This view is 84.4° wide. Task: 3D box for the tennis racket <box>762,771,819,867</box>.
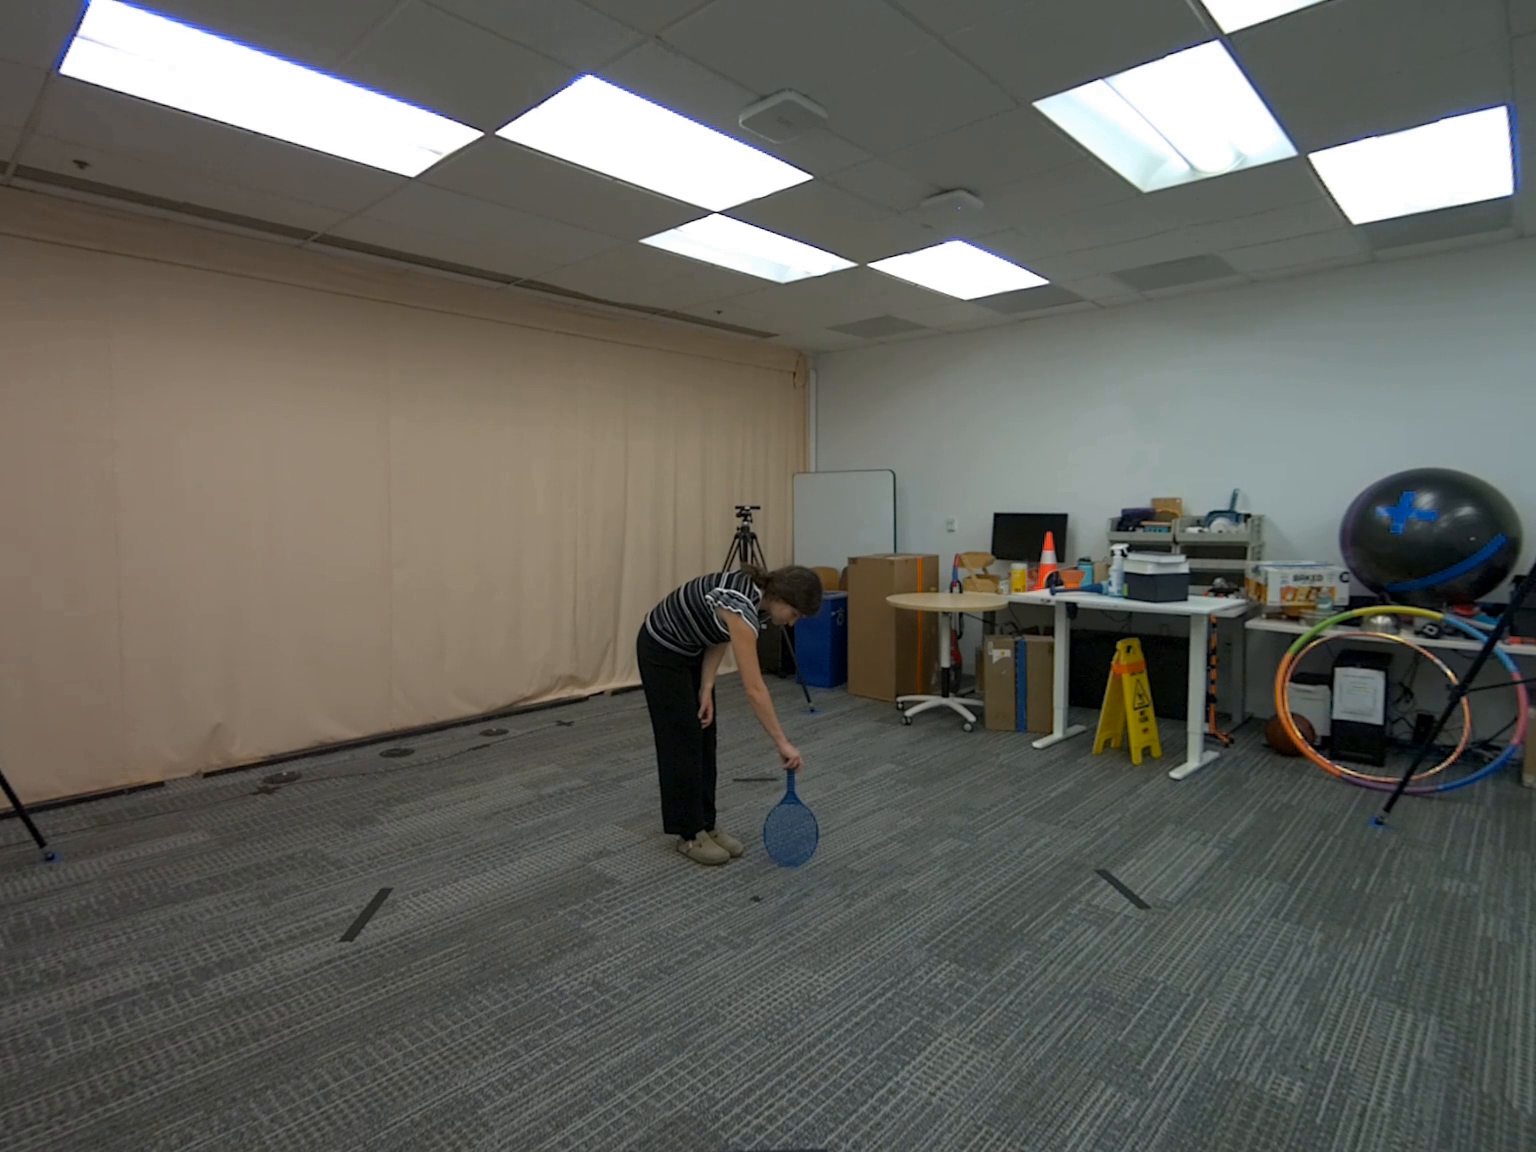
[{"bbox_3d":[0.088,0.911,3.221,0.215,0.431,0.032,-1,8,7],"label":"tennis racket"}]
